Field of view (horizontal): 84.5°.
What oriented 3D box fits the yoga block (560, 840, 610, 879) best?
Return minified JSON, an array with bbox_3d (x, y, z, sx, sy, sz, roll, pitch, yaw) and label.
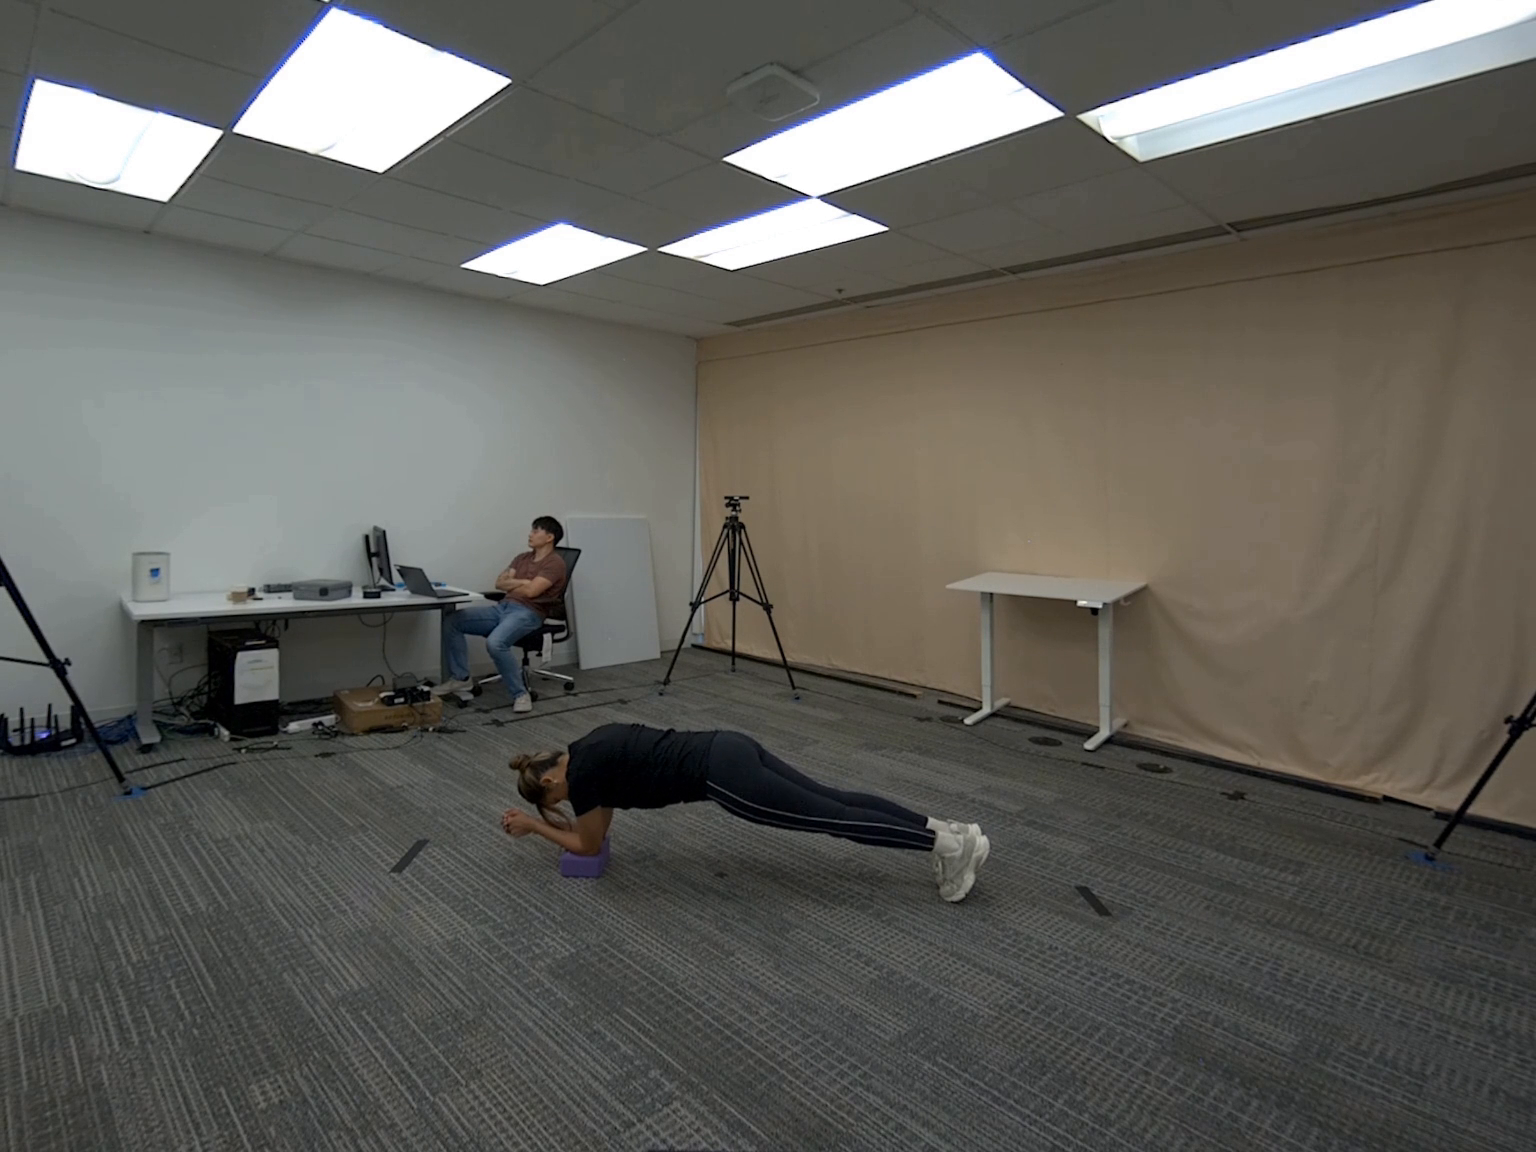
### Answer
[{"bbox_3d":[-0.686,1.042,3.164,0.149,0.076,0.230,-1,5,0],"label":"yoga block"}]
